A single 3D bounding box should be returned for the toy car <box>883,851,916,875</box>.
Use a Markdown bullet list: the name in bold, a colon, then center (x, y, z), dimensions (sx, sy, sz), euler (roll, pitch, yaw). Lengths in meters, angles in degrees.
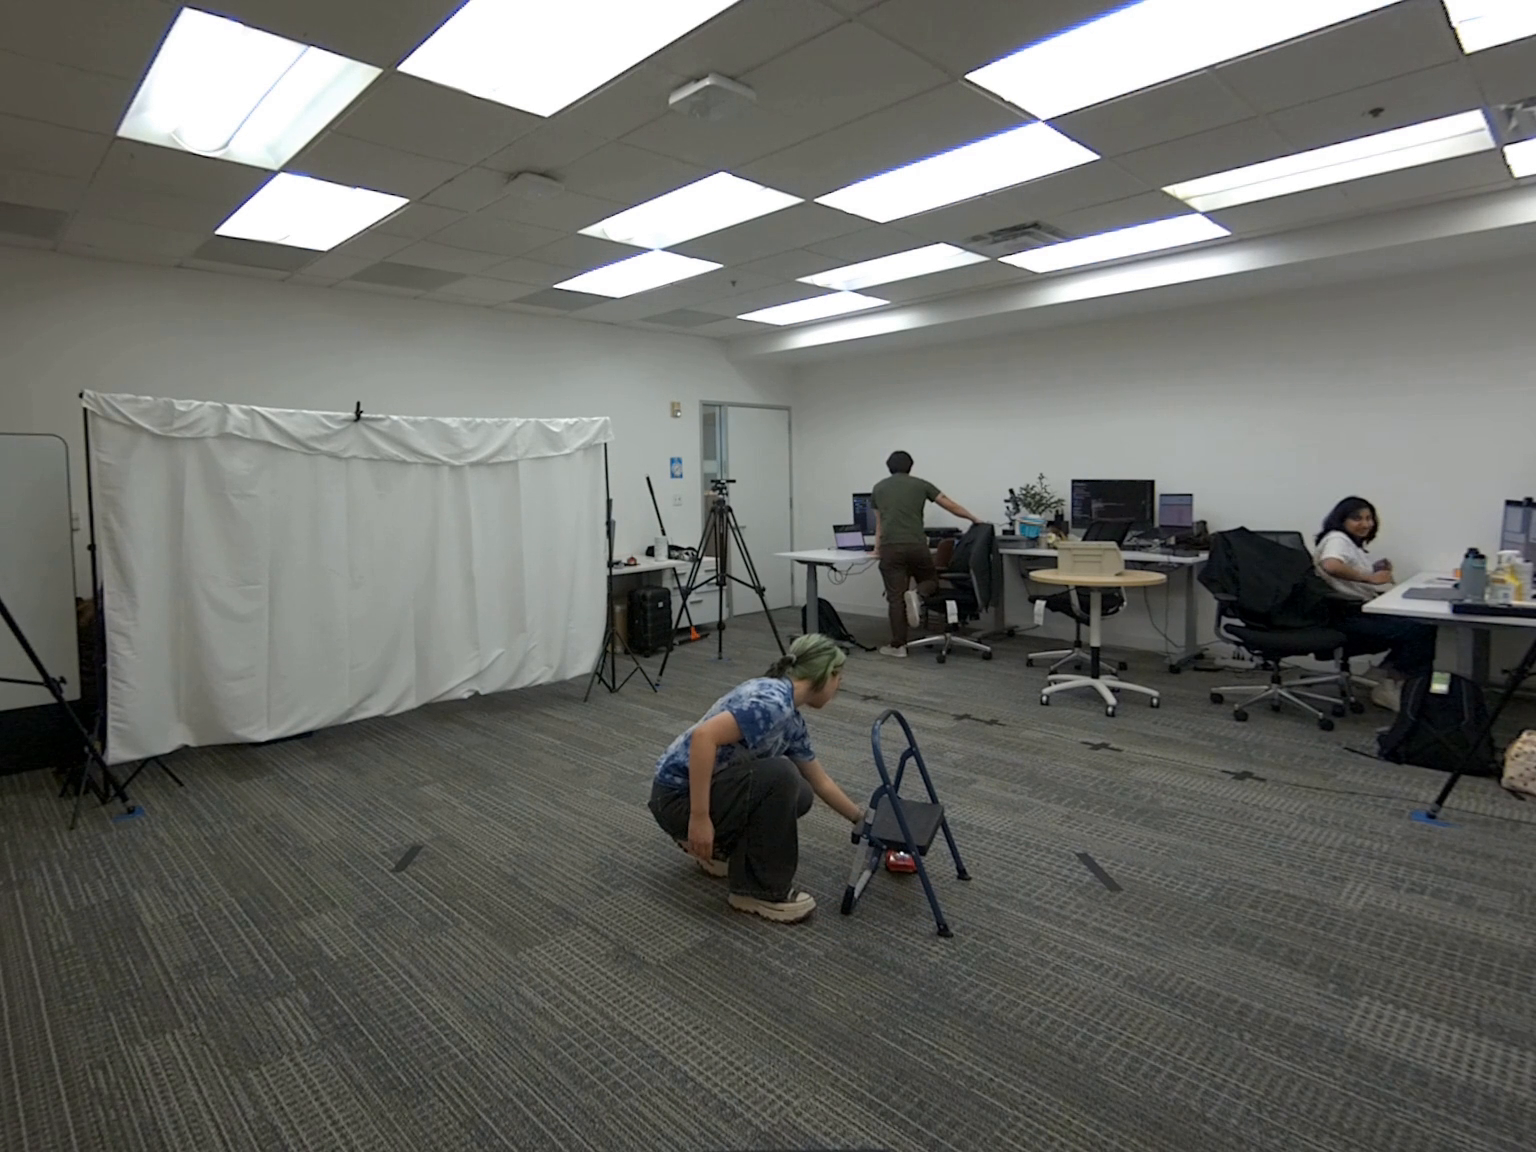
- **toy car**: center (0.474, 1.012, 3.083), dimensions (0.132, 0.084, 0.249), euler (0, -10, 10)
